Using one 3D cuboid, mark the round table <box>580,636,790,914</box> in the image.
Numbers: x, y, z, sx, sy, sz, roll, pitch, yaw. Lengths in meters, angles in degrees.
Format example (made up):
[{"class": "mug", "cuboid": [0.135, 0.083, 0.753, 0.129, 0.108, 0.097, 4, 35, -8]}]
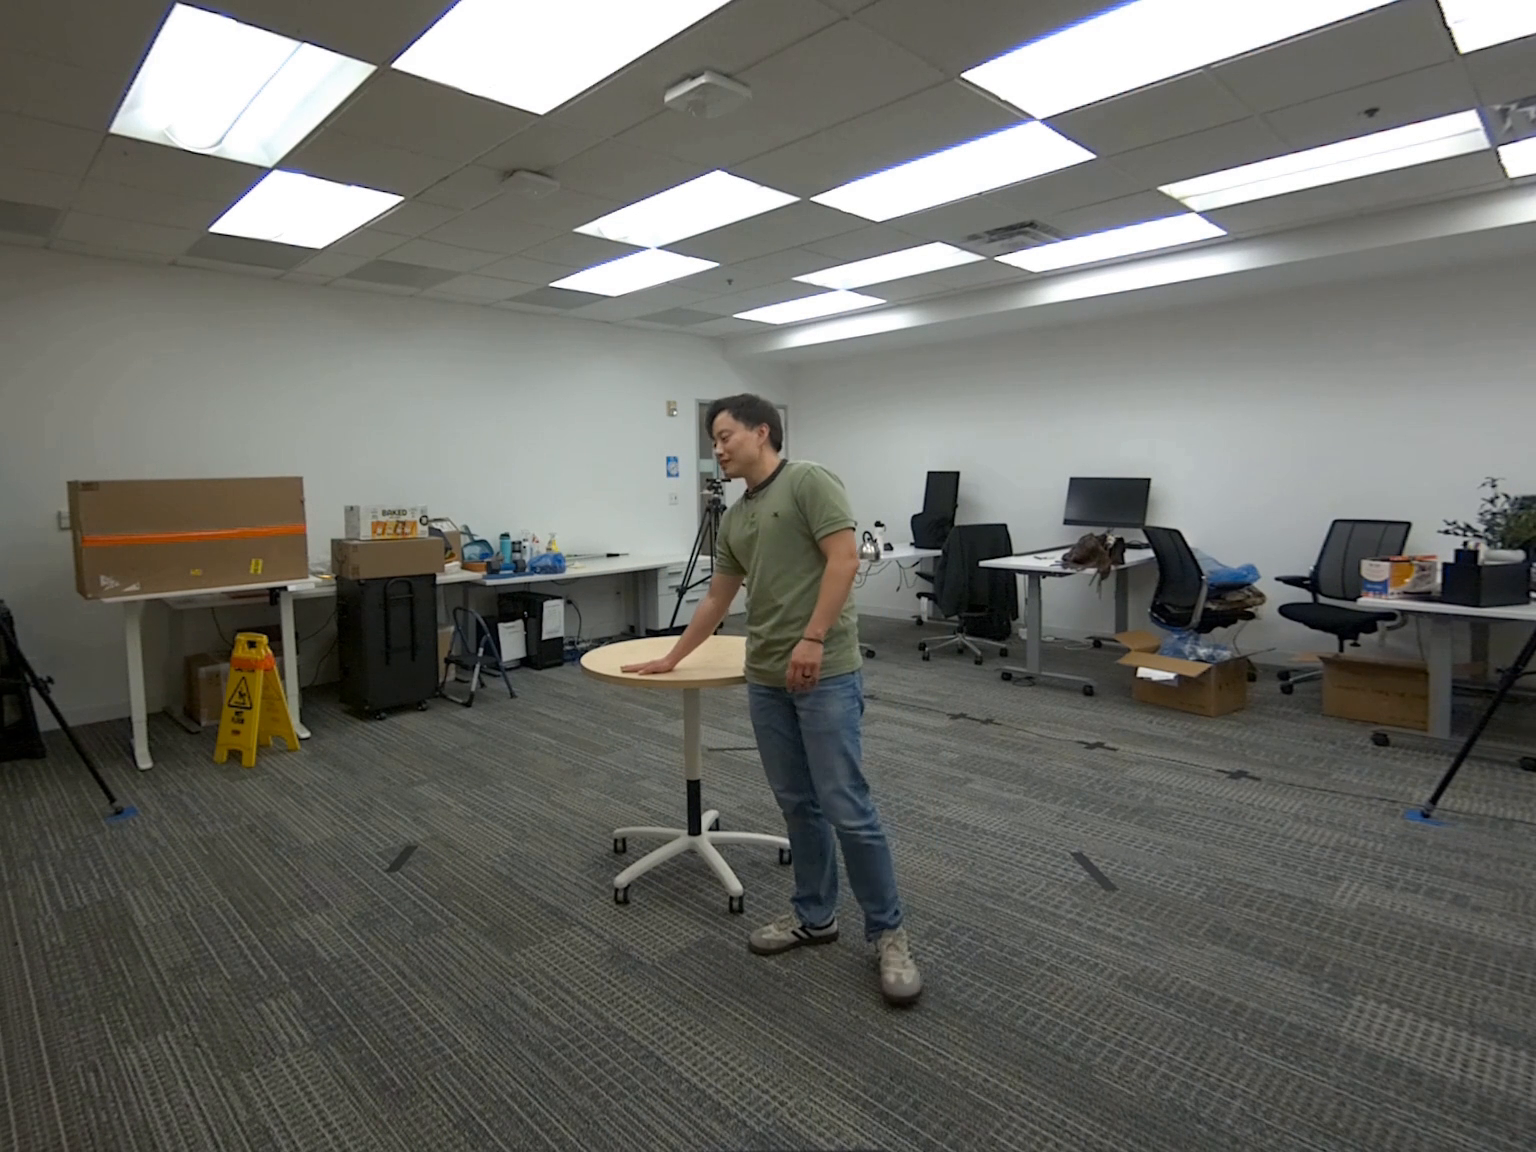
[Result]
[{"class": "round table", "cuboid": [-0.265, 0.669, 3.021, 0.763, 0.791, 0.768, -1, 5, -2]}]
